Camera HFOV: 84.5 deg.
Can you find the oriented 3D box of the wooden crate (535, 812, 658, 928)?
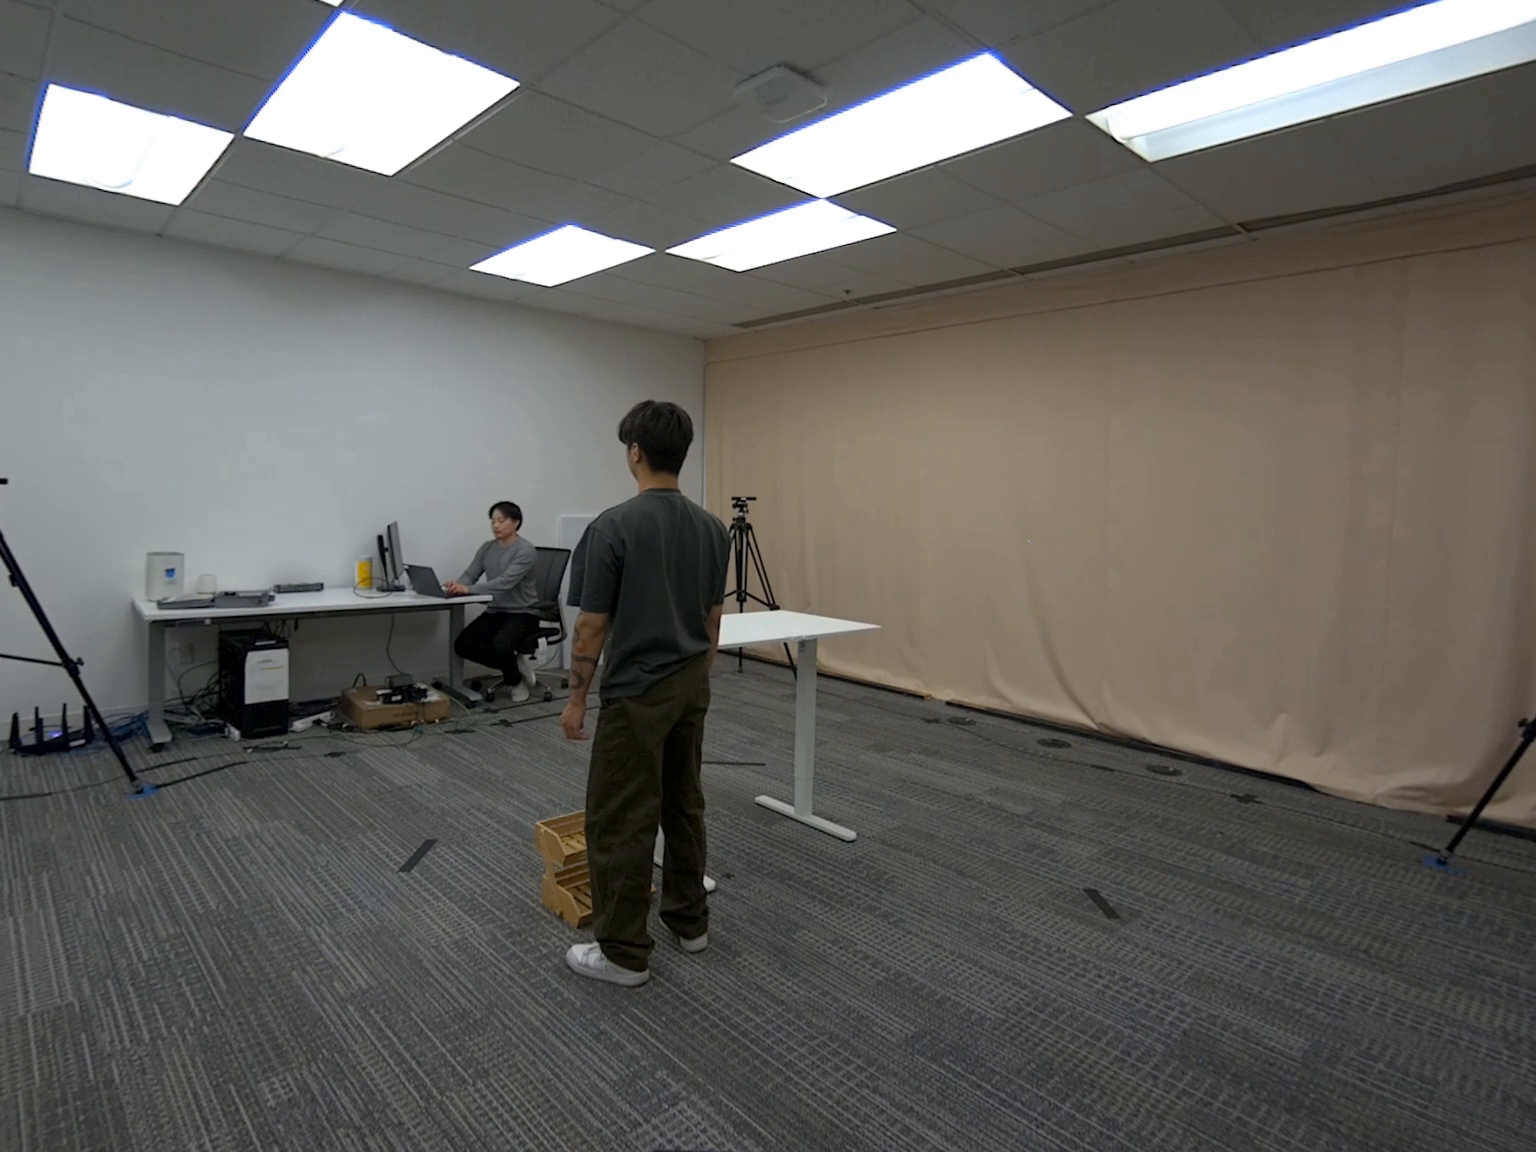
[{"bbox_3d":[-0.597,0.981,2.886,0.317,0.272,0.310,-3,6,-42],"label":"wooden crate"}]
